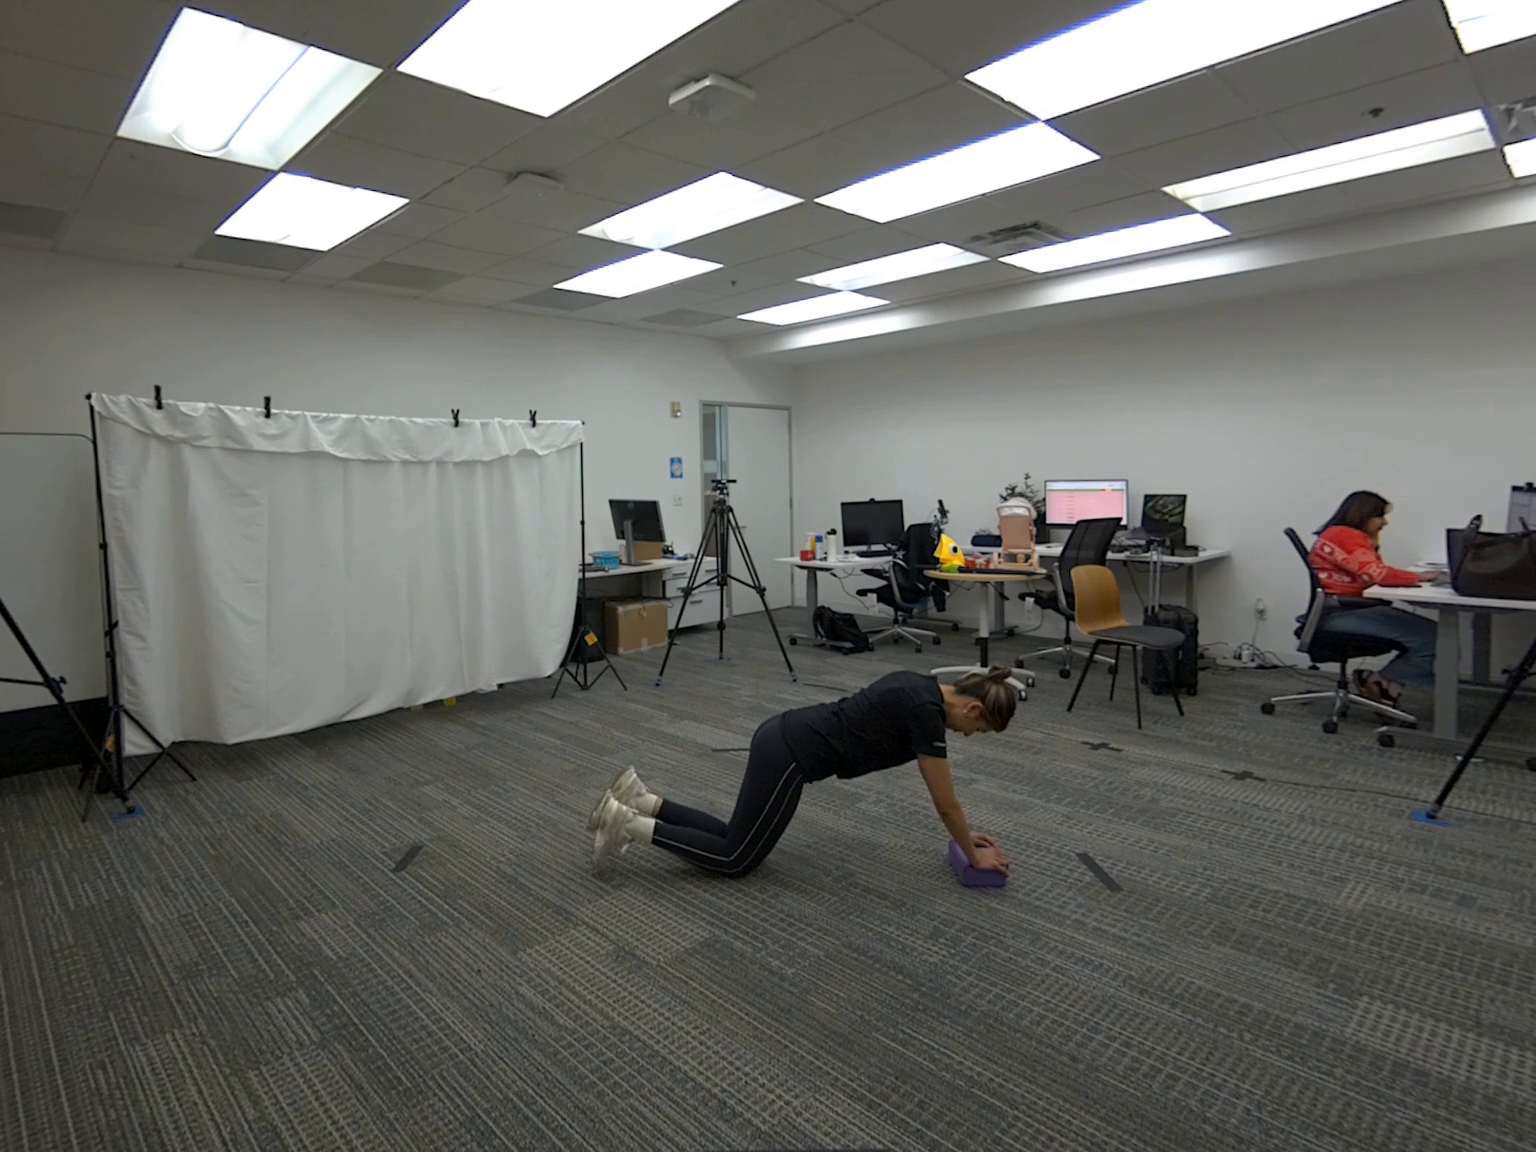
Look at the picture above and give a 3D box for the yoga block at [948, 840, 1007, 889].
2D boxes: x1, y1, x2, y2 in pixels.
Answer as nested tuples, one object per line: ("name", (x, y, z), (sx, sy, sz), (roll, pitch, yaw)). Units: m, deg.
("yoga block", (0.730, 0.997, 3.002), (0.149, 0.076, 0.230), (3, 7, 0))
